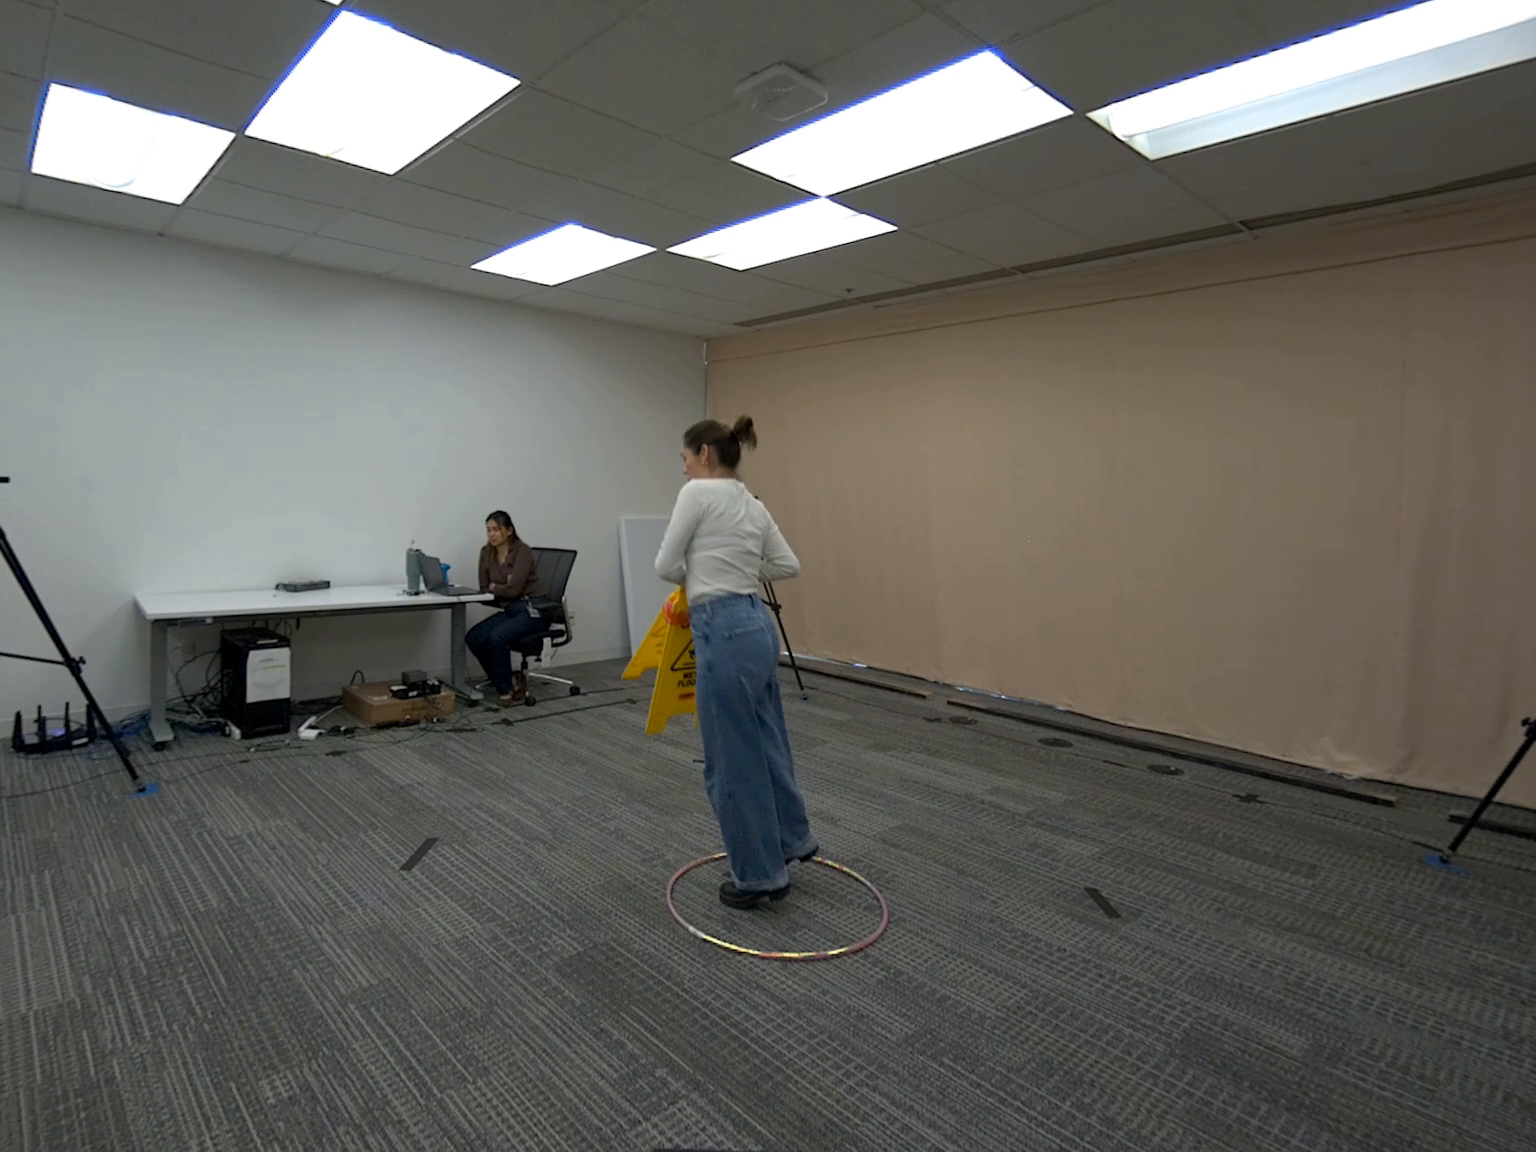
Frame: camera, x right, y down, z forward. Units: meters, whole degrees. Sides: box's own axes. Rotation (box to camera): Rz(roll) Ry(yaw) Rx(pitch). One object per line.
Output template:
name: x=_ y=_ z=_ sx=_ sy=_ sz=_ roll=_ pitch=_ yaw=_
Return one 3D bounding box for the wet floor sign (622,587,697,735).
wet floor sign: x=-0.314 y=0.289 z=3.164 sx=0.277 sy=0.638 sz=0.299 roll=-5 pitch=41 yaw=-31
